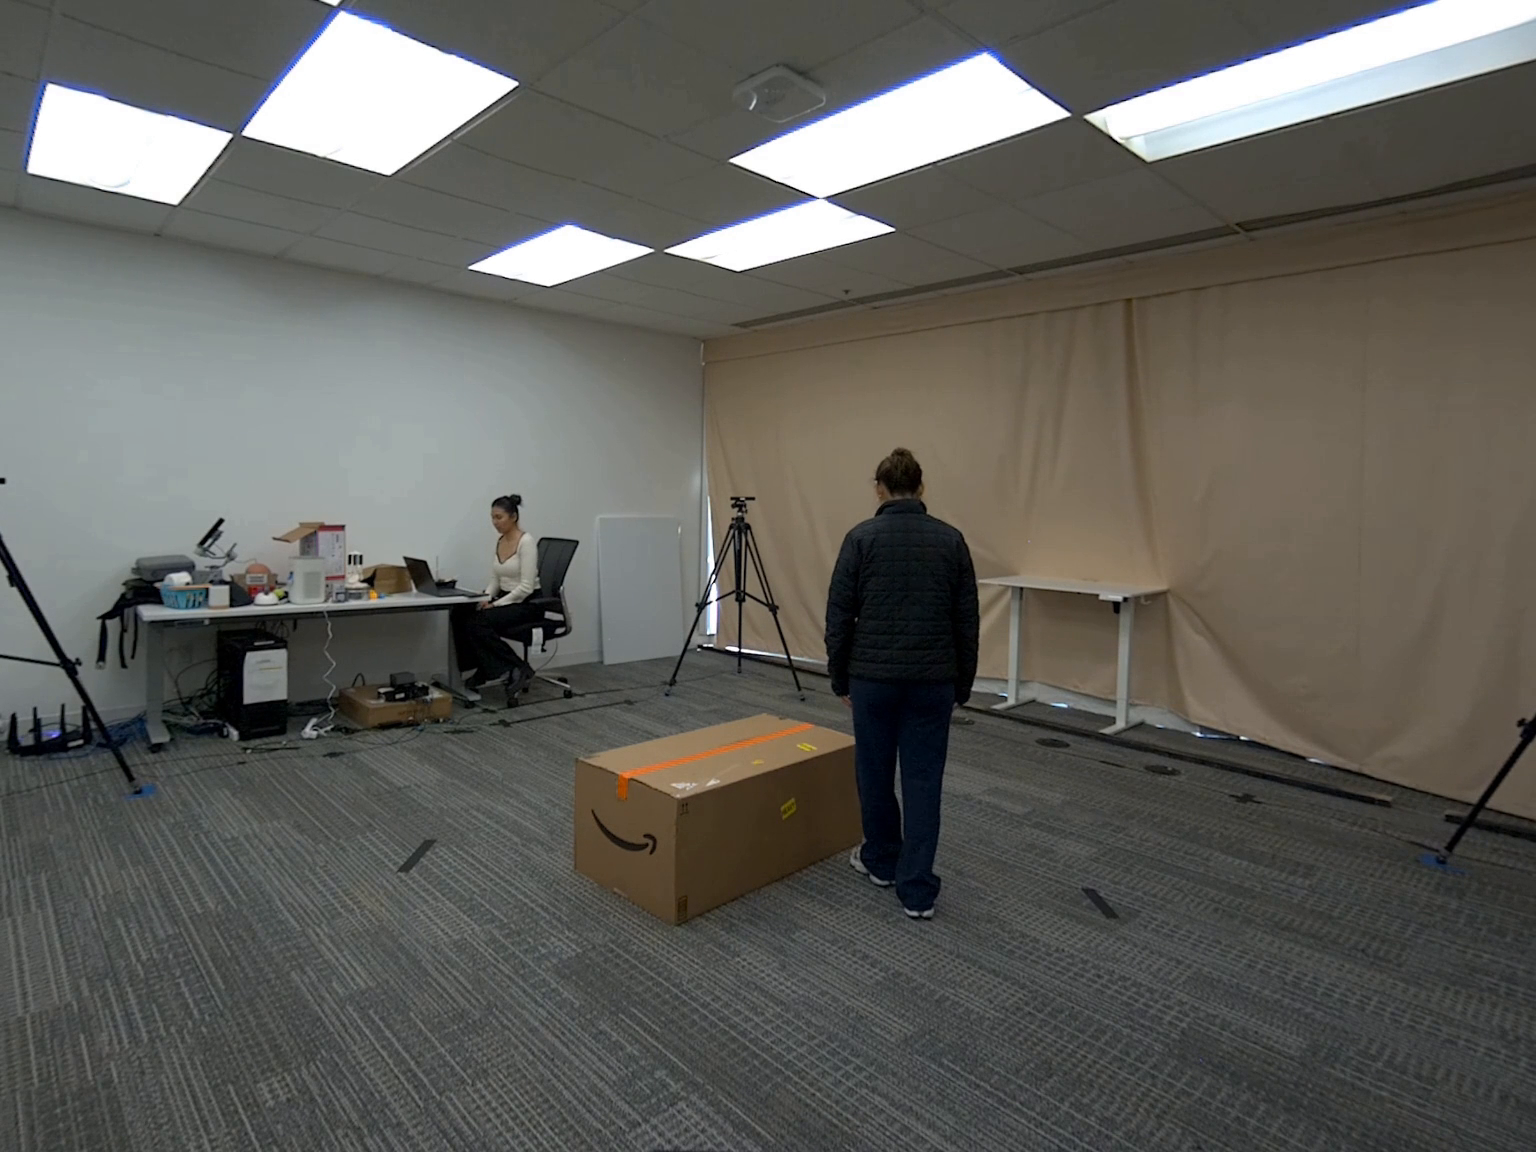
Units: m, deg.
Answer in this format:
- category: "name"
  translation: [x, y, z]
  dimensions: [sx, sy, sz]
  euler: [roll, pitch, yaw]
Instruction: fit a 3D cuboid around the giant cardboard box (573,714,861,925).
- category: "giant cardboard box"
  translation: [-0.165, 0.879, 3.262]
  dimensions: [0.592, 0.425, 1.002]
  euler: [6, 7, 43]
